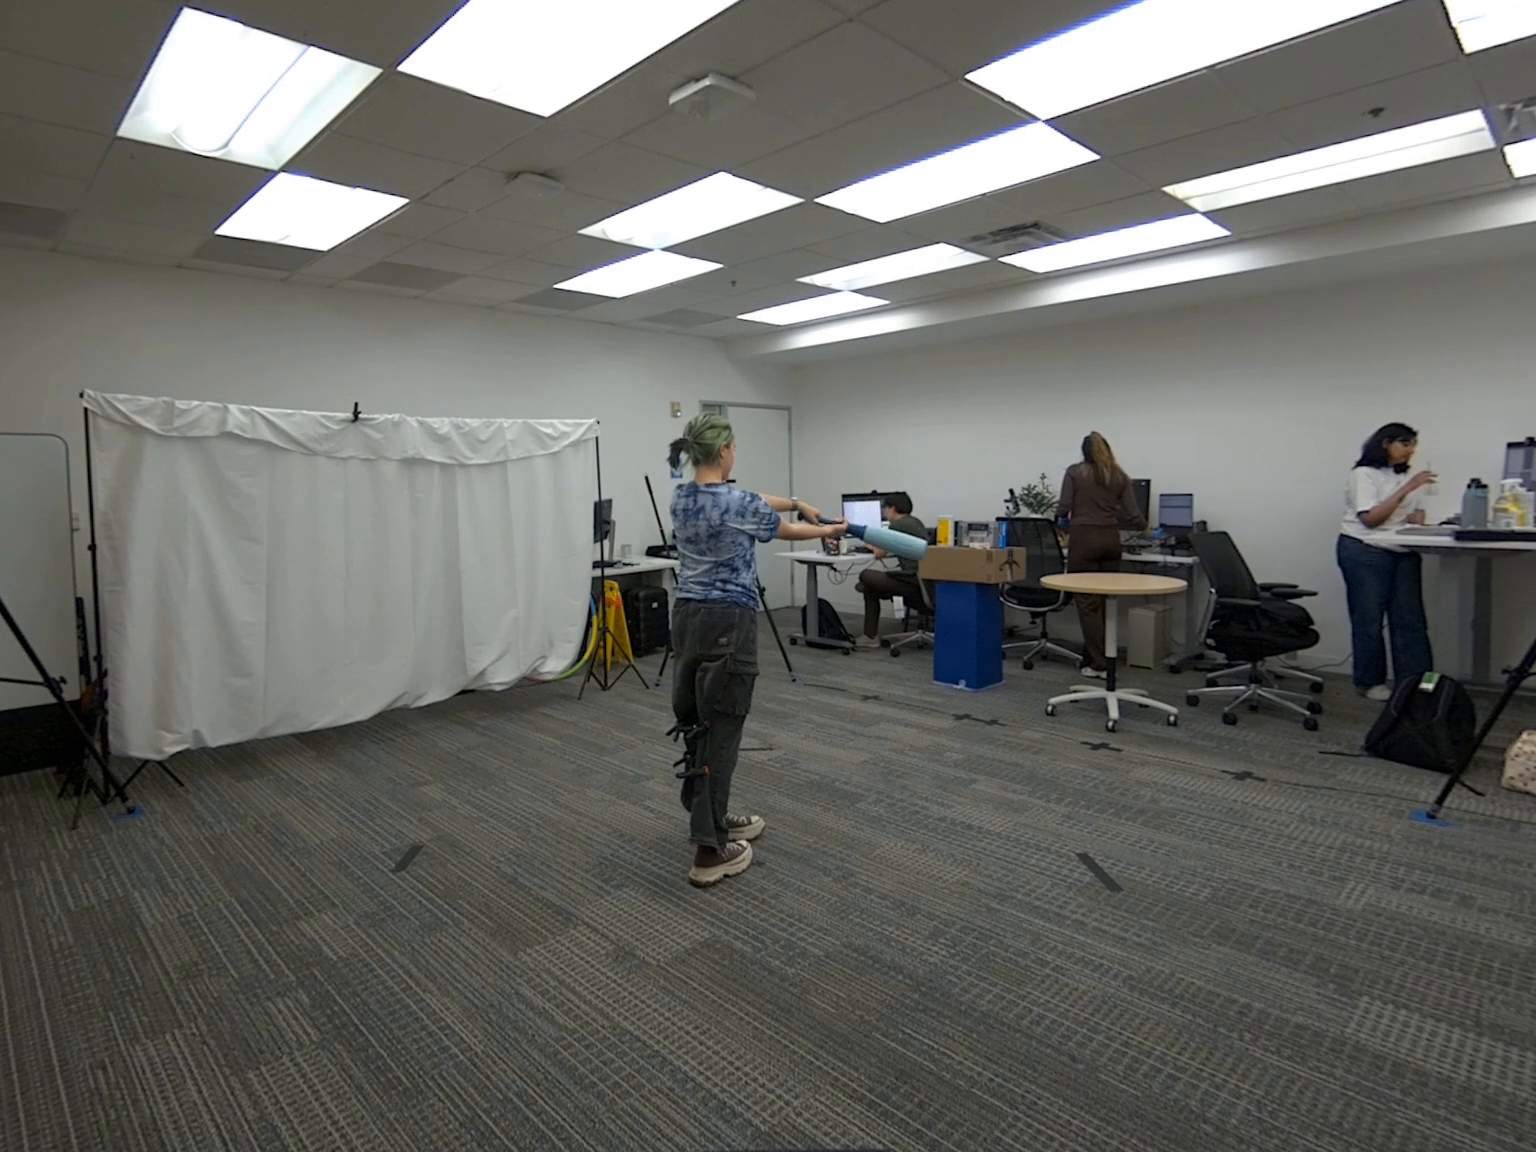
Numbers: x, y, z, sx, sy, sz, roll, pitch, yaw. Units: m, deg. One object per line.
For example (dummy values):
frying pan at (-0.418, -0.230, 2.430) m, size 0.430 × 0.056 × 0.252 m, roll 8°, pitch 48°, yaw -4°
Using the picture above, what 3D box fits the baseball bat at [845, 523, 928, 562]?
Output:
baseball bat at (0.367, -0.182, 3.489) m, size 0.552 × 0.088 × 0.088 m, roll 17°, pitch 9°, yaw 14°
